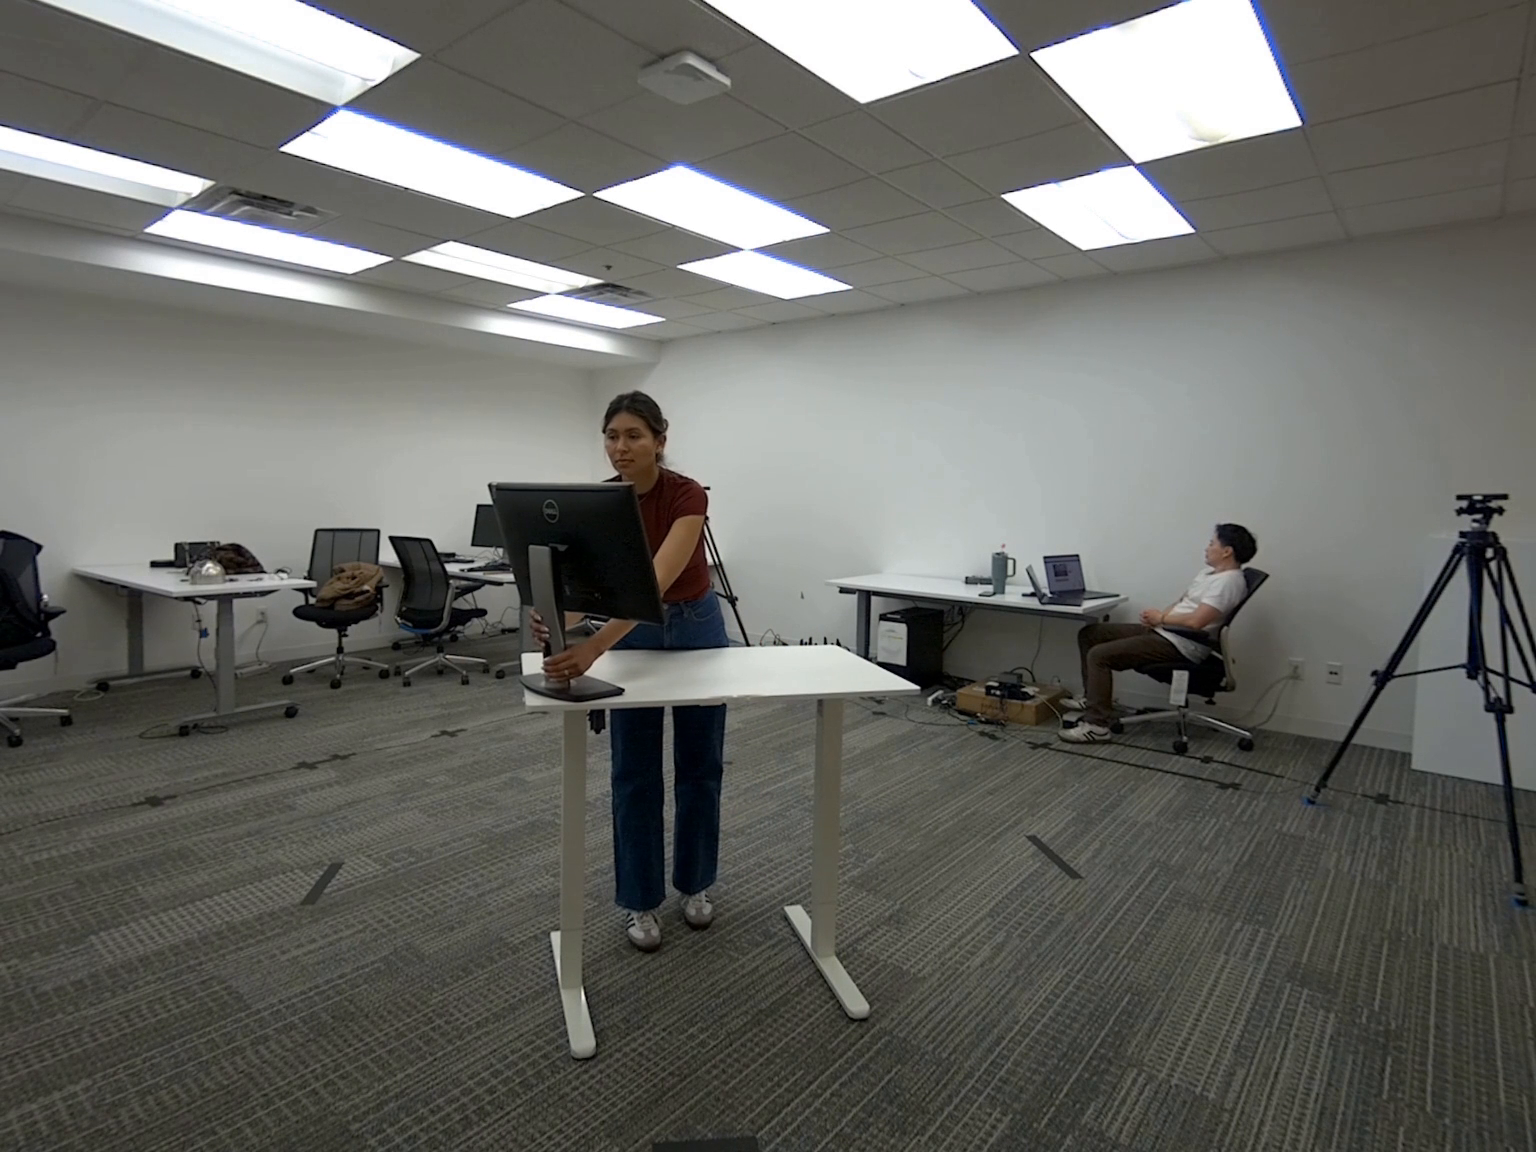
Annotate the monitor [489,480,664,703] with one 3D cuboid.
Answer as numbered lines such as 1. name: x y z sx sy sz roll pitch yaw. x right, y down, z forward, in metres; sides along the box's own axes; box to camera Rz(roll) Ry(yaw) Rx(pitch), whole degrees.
1. monitor: -0.509 0.024 2.114 0.557 0.519 0.182 4 9 39
